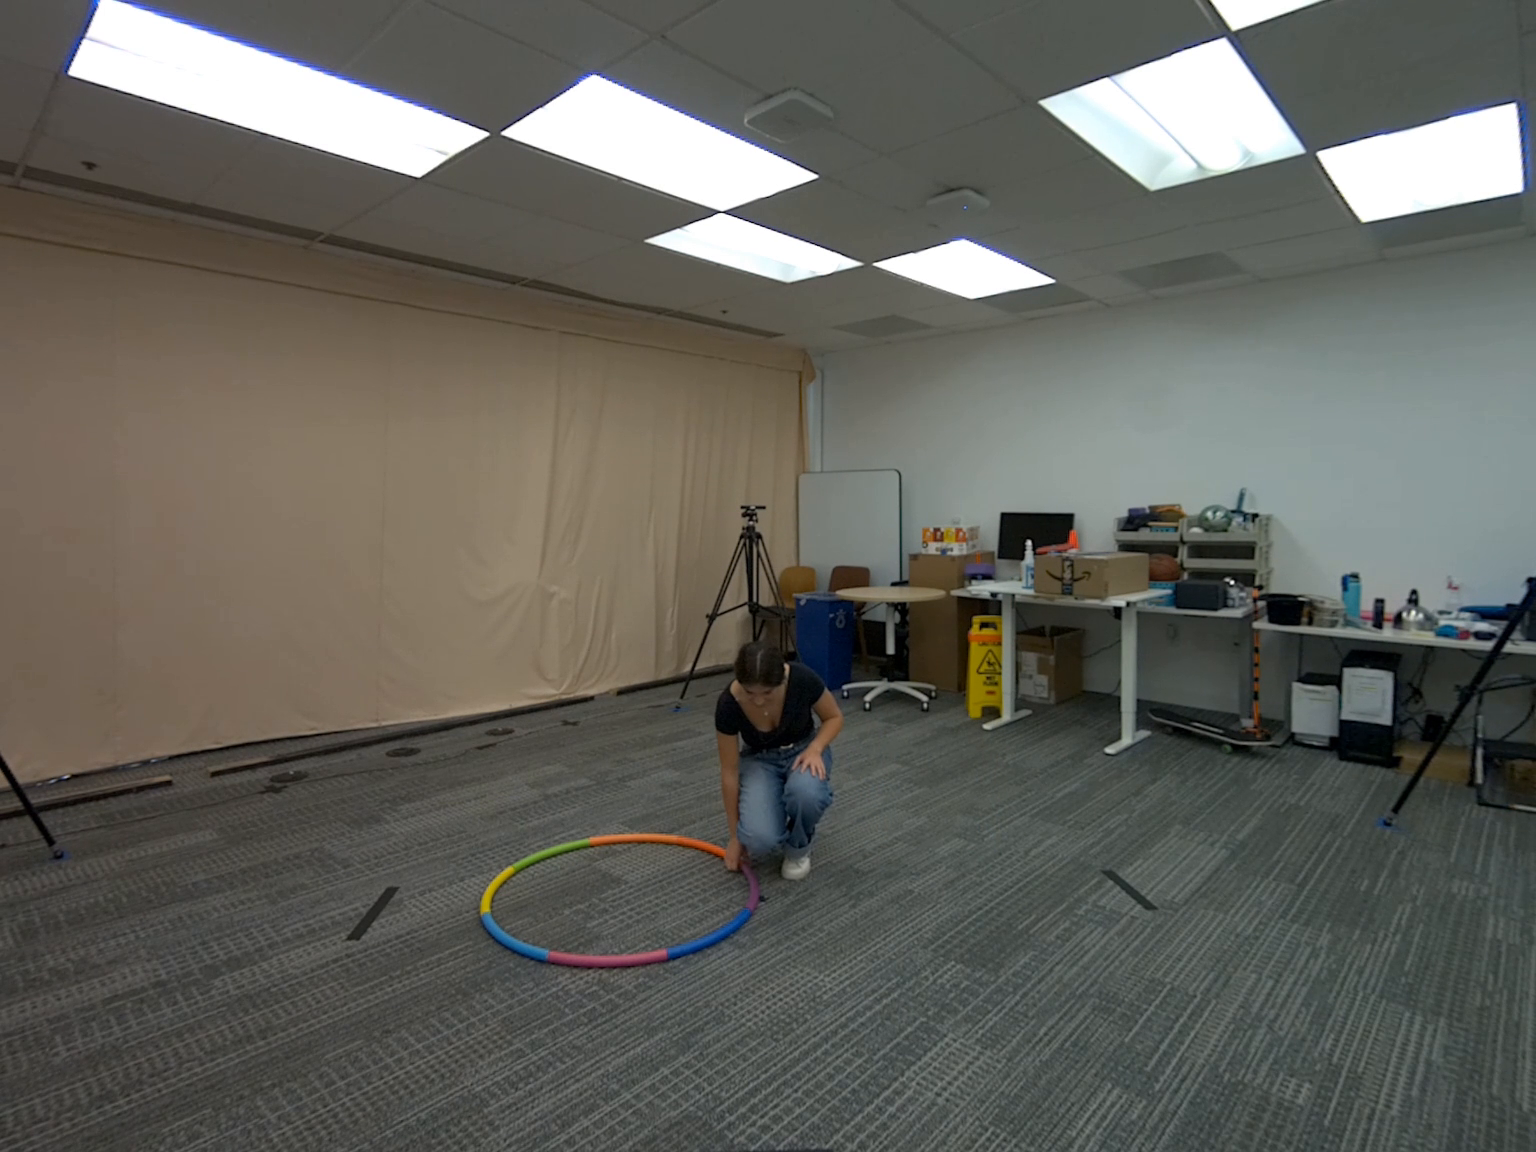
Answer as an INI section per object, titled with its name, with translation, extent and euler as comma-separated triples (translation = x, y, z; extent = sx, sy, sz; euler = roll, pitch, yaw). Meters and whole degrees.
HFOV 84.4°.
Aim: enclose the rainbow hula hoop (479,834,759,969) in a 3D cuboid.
[rainbow hula hoop]
translation = -0.513, 1.119, 3.020
extent = 0.978, 0.035, 0.982
euler = 0, 5, -2
